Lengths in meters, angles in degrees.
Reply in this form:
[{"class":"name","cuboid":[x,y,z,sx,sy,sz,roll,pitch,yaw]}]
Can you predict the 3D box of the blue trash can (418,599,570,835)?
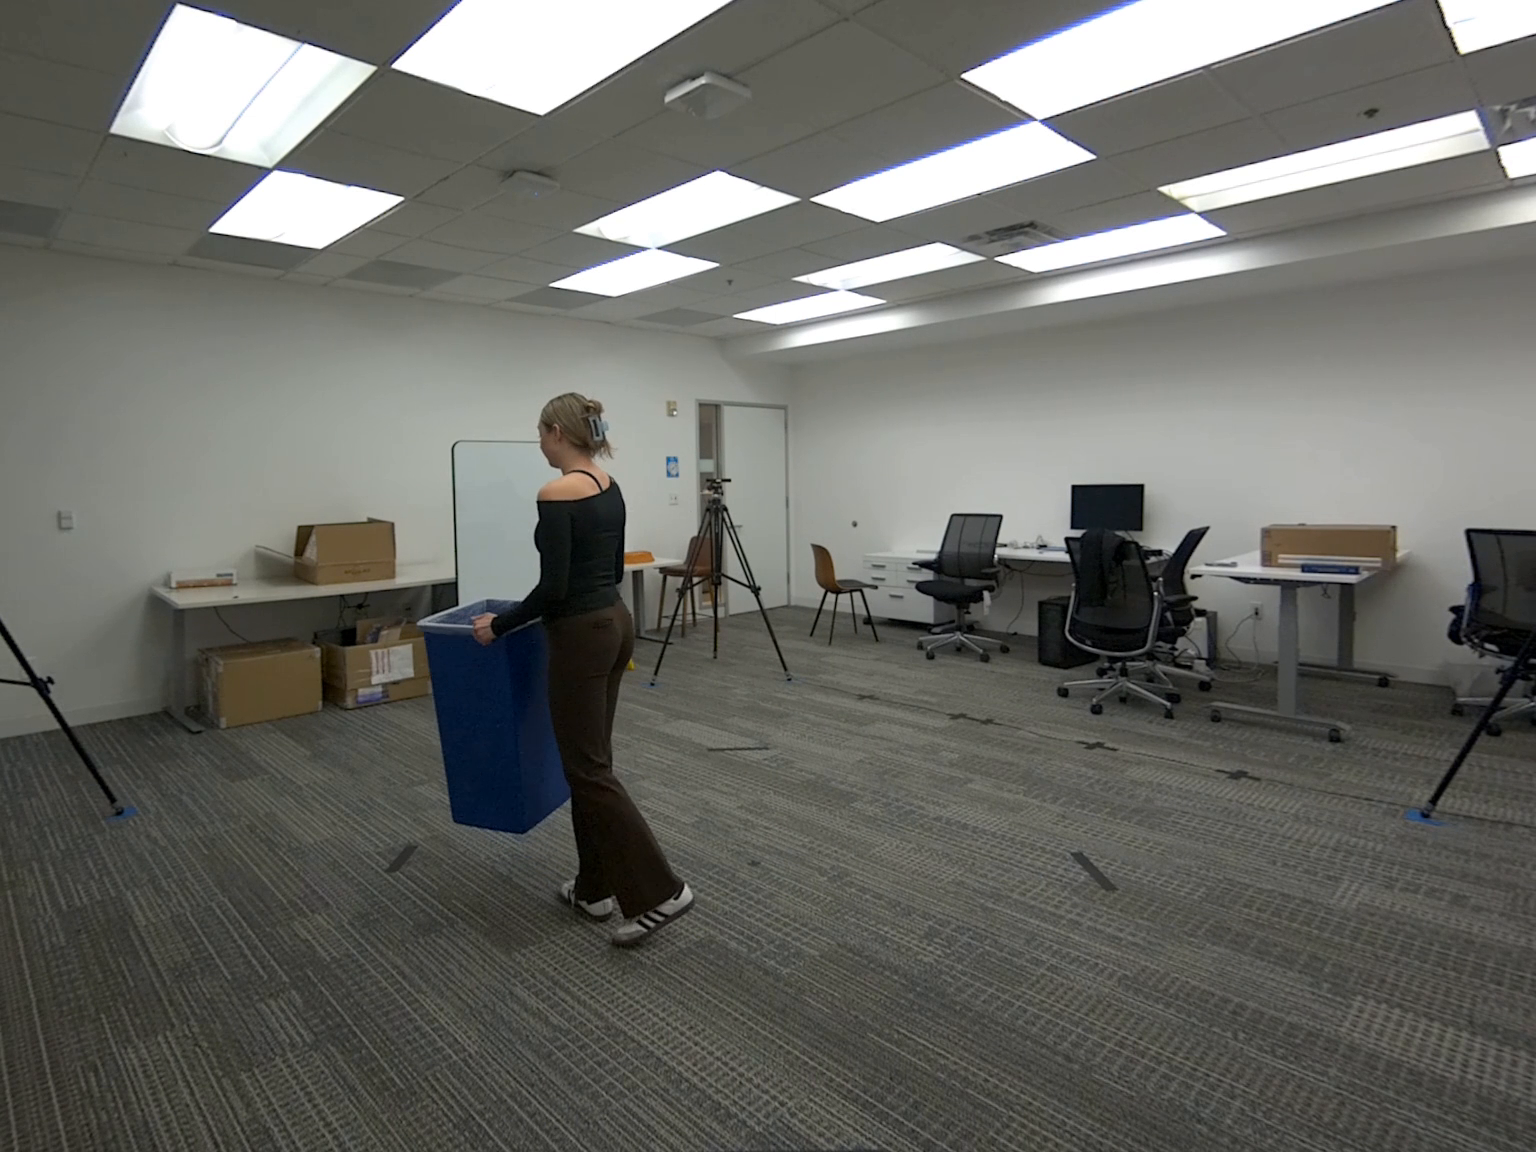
[{"class":"blue trash can","cuboid":[-0.903,0.473,2.928,0.386,0.708,0.369,0,9,22]}]
